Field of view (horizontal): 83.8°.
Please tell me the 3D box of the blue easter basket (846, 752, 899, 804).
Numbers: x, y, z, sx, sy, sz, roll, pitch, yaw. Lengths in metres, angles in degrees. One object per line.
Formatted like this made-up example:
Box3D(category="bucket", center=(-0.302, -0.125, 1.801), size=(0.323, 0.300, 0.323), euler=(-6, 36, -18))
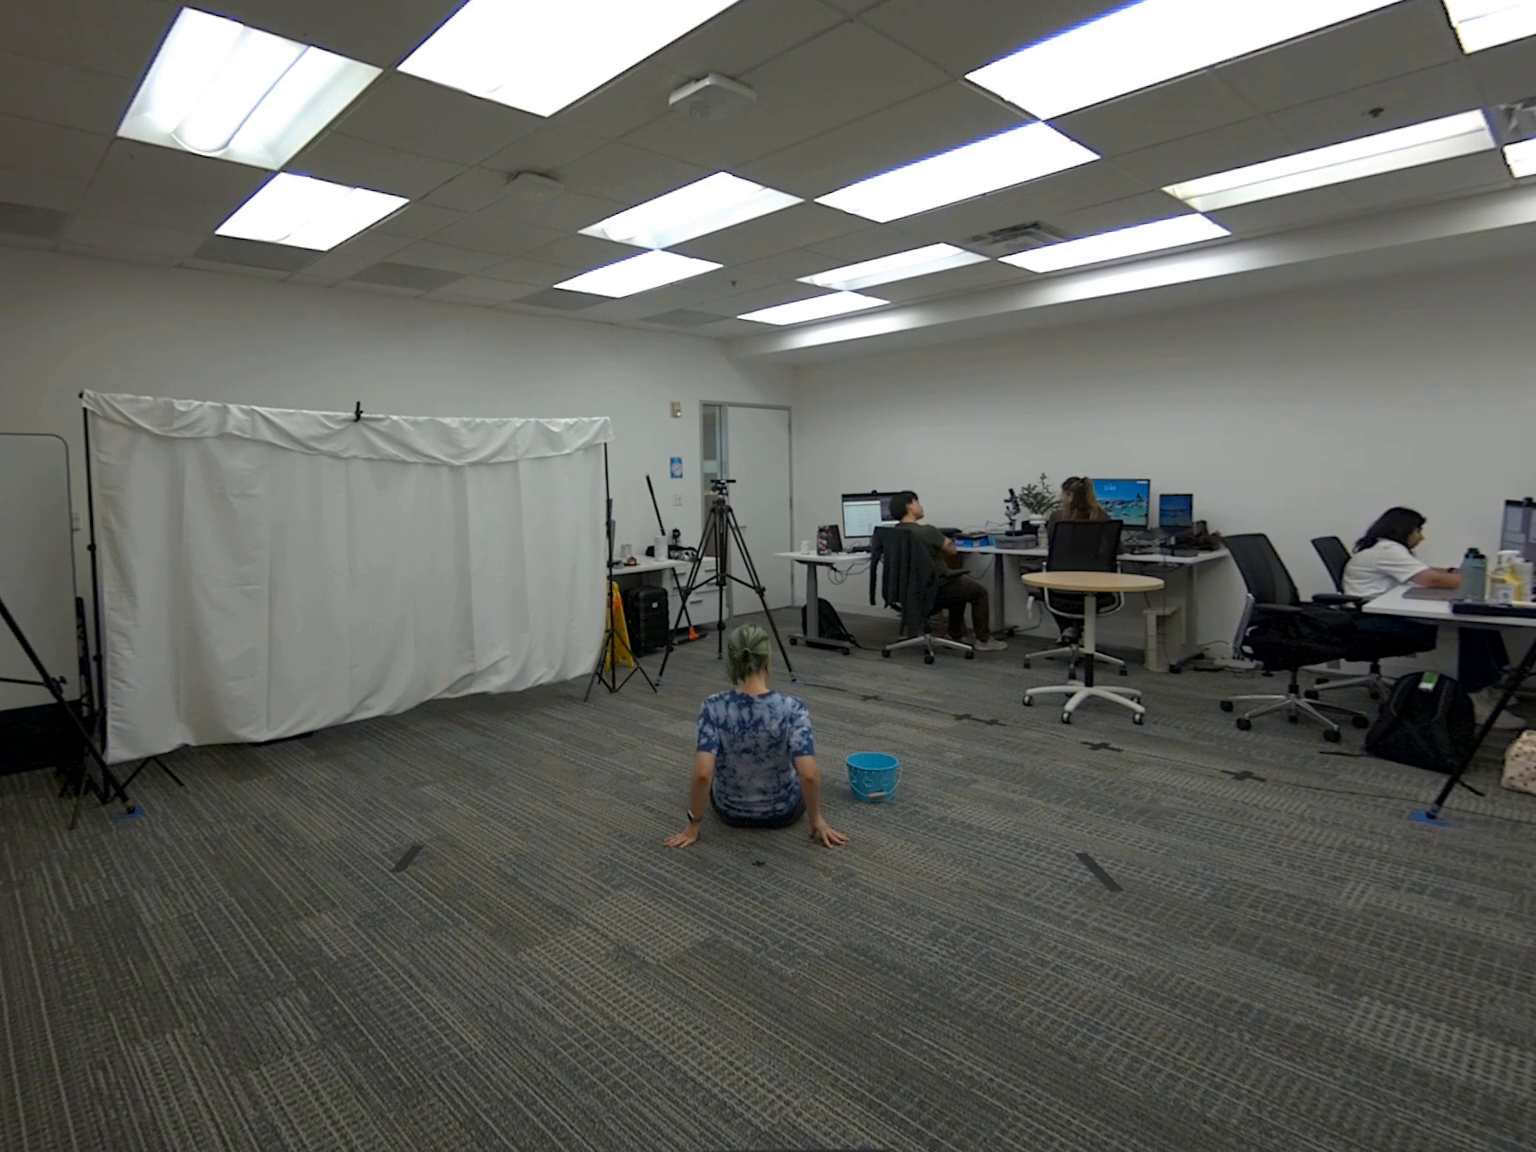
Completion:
Box3D(category="blue easter basket", center=(0.451, 0.881, 3.758), size=(0.243, 0.155, 0.245), euler=(-1, 5, -2))
